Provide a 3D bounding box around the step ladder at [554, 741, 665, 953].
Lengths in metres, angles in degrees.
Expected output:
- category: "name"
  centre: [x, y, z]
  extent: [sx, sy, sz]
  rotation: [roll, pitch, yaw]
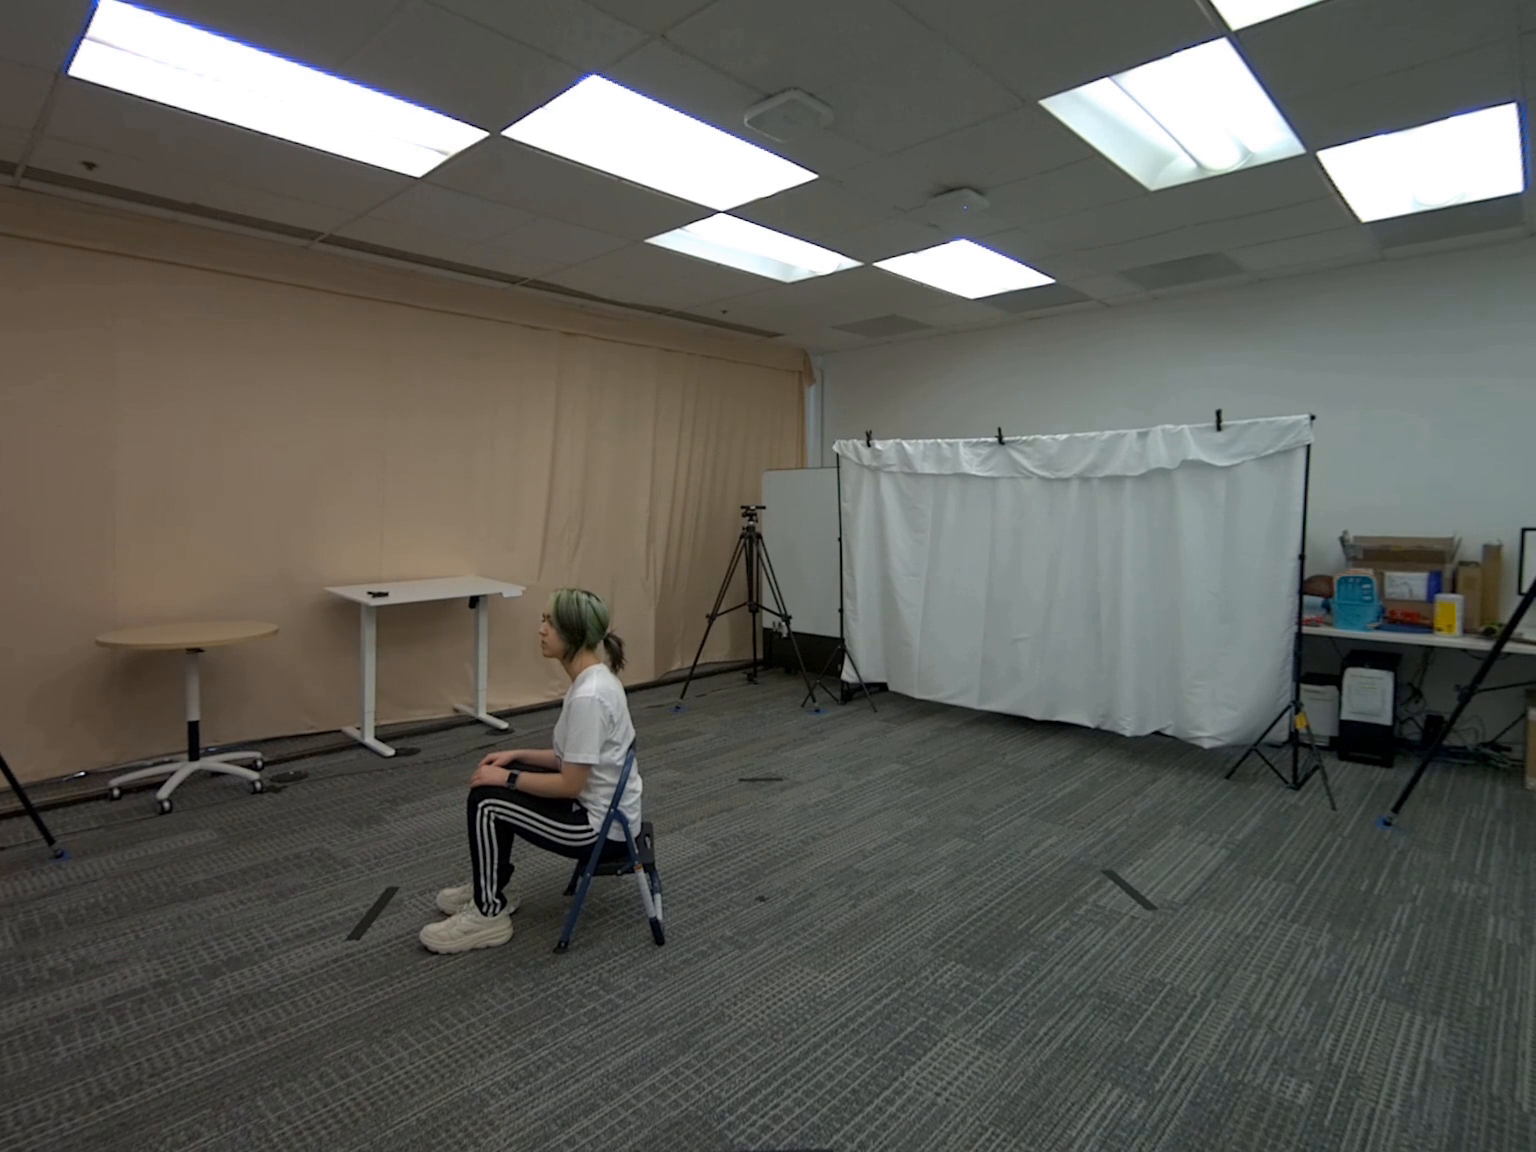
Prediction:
- category: "step ladder"
  centre: [-0.529, 0.865, 2.833]
  extent: [0.346, 0.605, 0.435]
  rotation: [-2, 3, -9]
